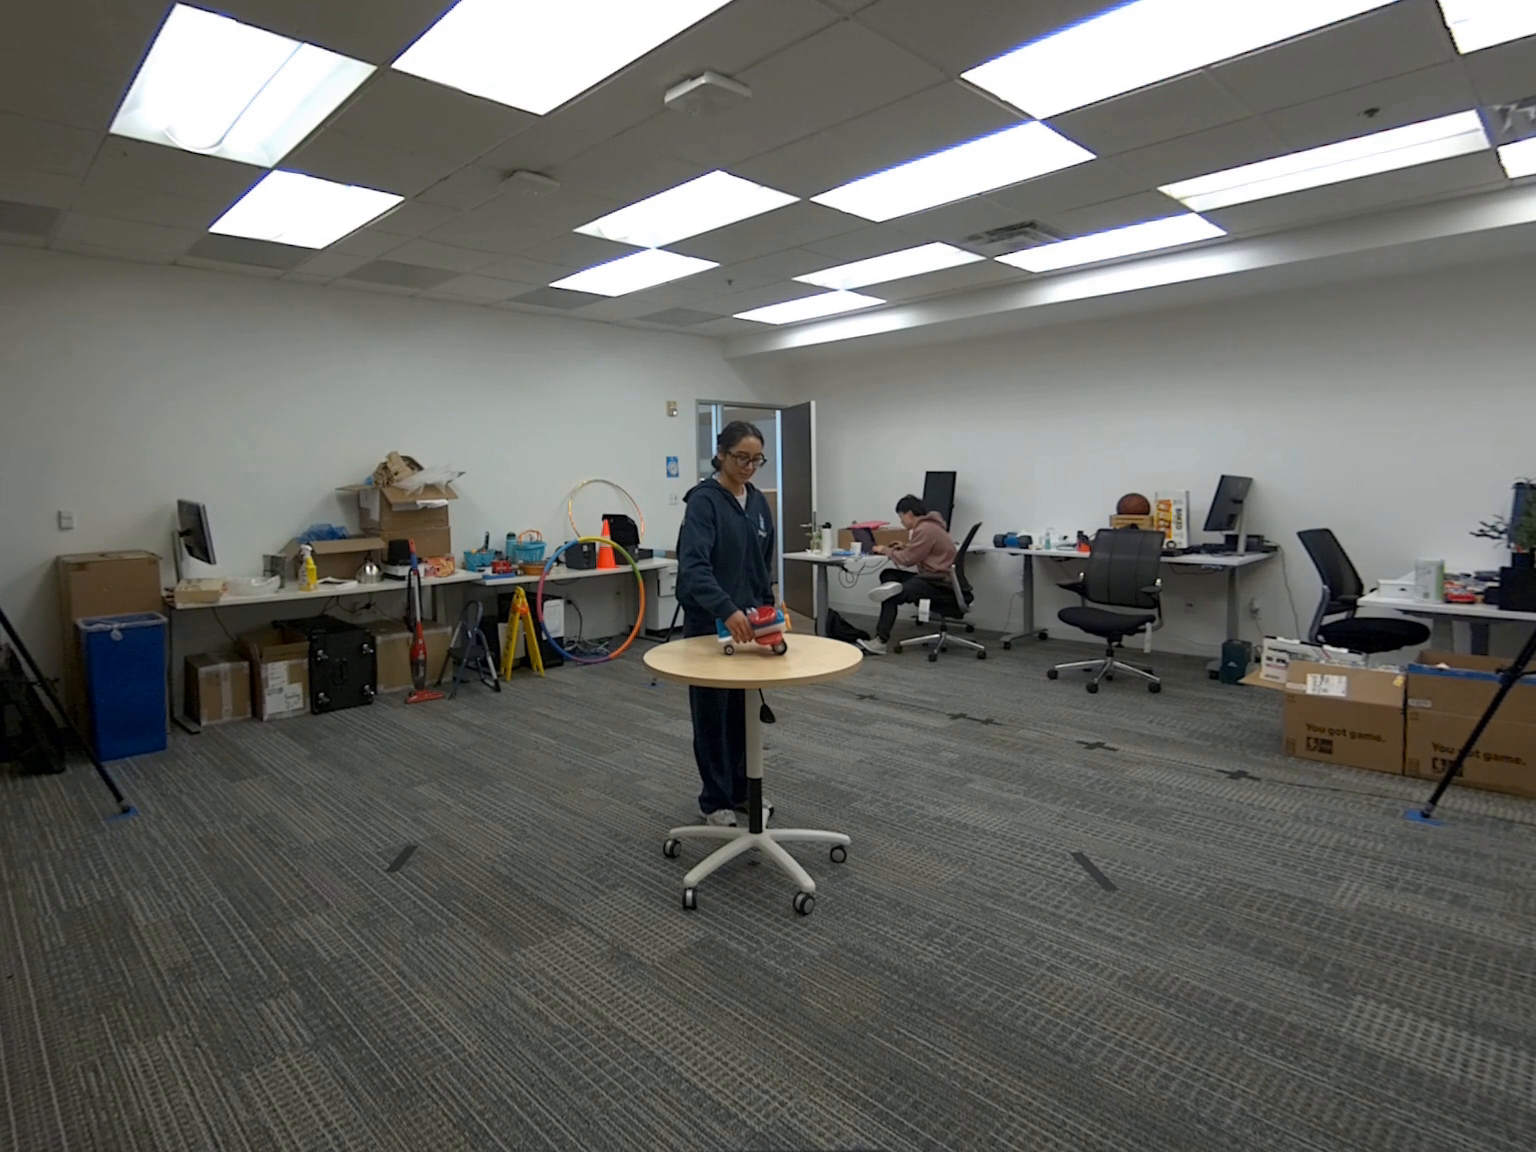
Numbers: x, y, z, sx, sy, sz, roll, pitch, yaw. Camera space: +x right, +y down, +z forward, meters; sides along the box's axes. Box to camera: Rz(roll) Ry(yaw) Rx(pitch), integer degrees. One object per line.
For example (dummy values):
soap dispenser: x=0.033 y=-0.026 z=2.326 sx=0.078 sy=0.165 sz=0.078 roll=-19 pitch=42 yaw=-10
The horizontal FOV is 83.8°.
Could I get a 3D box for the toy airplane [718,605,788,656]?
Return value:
toy airplane: x=-0.047 y=0.201 z=2.993 sx=0.253 sy=0.156 sz=0.258 roll=-5 pitch=6 yaw=-29
